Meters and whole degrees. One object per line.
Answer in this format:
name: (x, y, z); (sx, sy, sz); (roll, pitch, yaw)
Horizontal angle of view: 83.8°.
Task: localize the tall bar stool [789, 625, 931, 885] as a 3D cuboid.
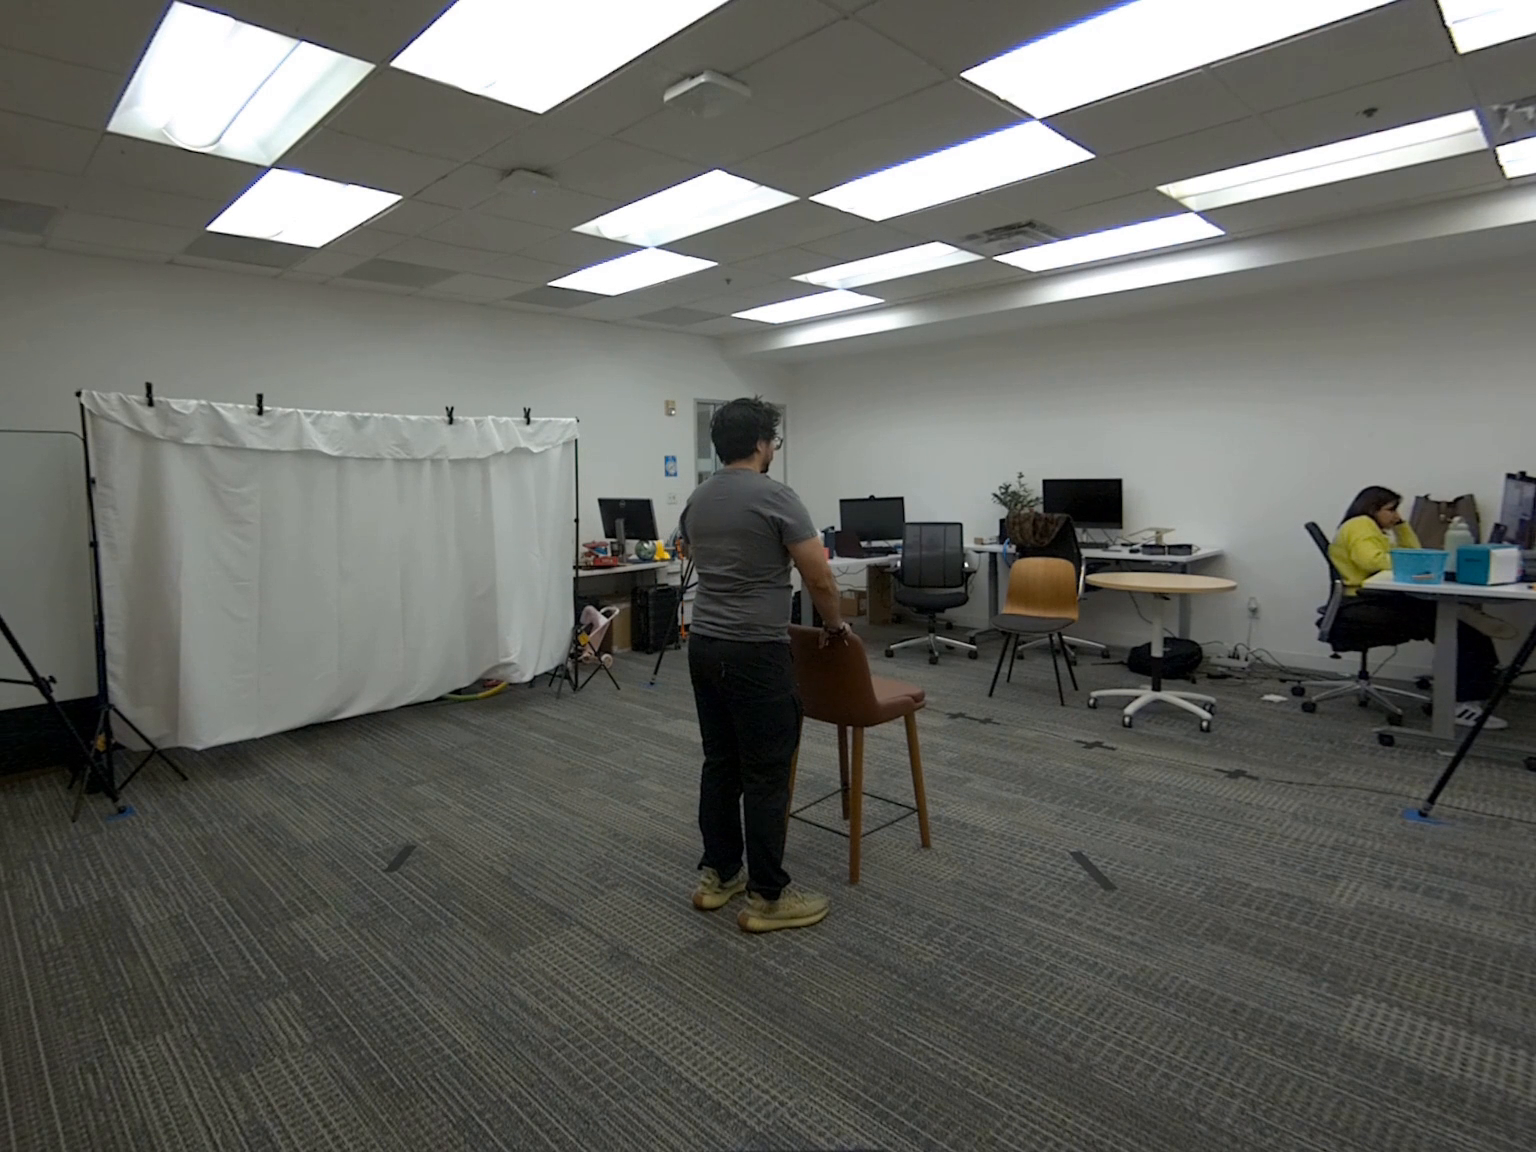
tall bar stool: (0.301, 0.589, 3.175); (0.456, 0.885, 0.470); (-7, 8, -44)
